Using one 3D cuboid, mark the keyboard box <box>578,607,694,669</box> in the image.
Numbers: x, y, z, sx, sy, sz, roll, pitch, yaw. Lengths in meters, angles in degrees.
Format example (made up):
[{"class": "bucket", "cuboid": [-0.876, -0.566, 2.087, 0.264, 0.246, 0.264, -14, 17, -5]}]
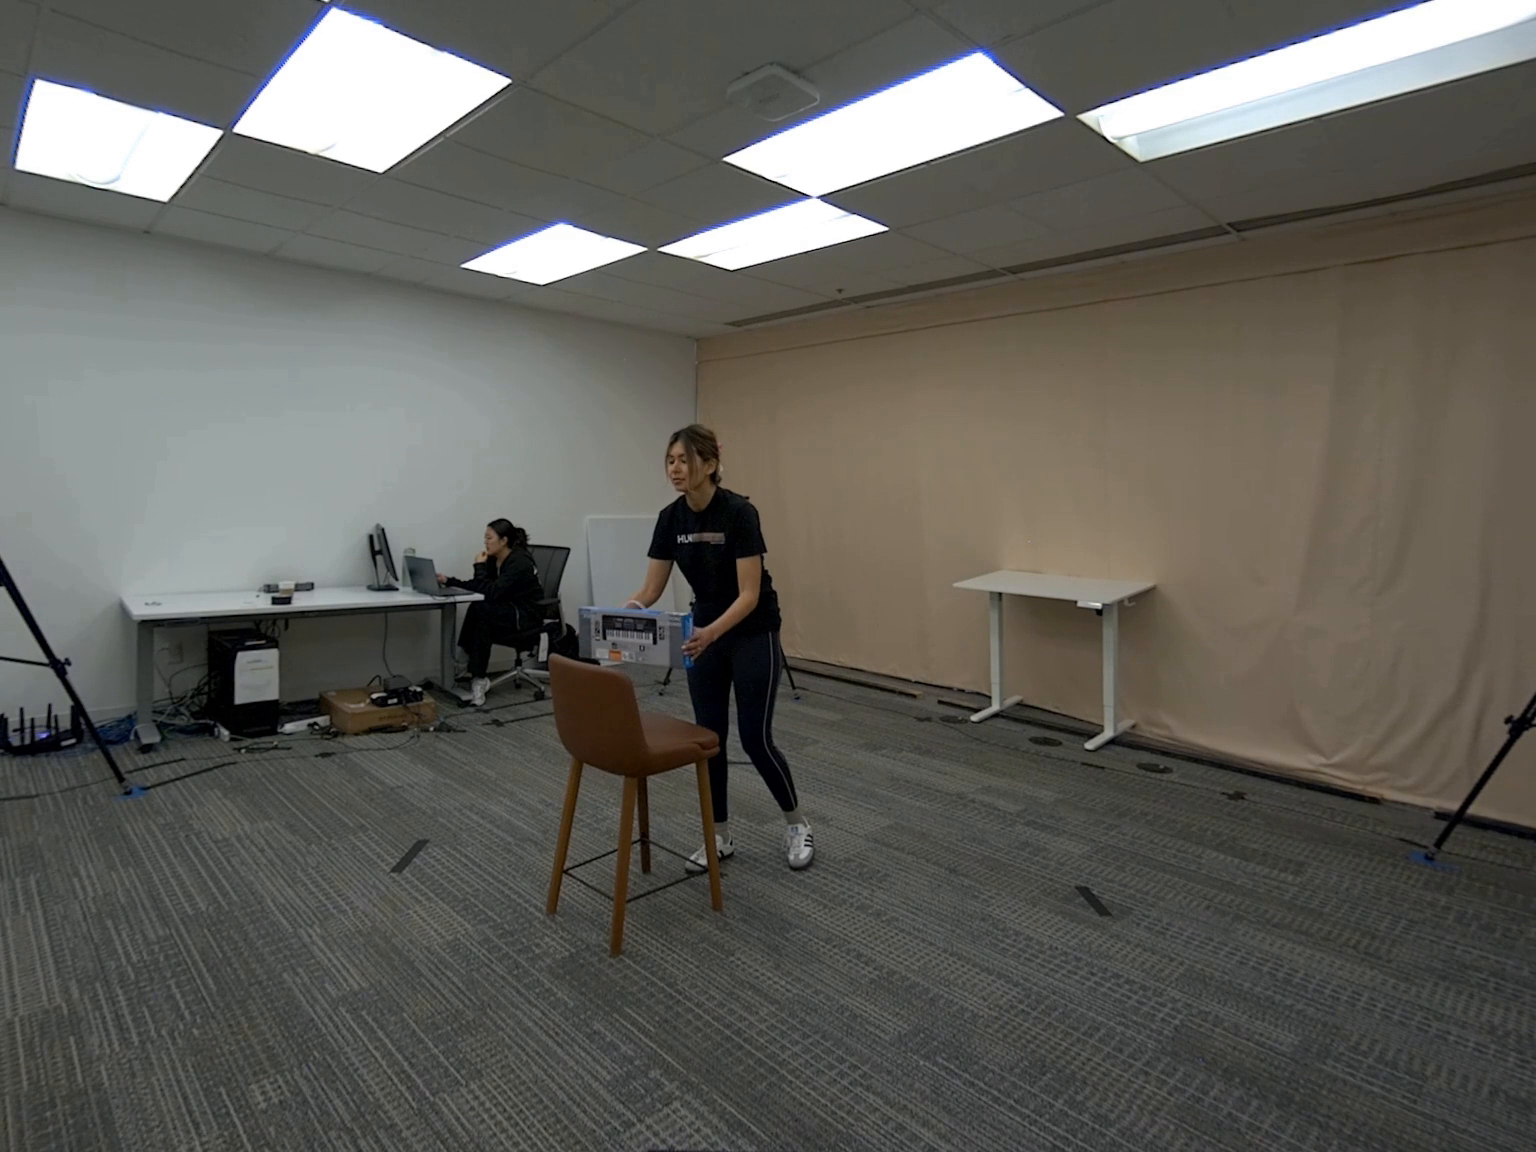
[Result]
[{"class": "keyboard box", "cuboid": [-0.450, 0.203, 2.789, 0.446, 0.175, 0.058, 2, 6, 30]}]
